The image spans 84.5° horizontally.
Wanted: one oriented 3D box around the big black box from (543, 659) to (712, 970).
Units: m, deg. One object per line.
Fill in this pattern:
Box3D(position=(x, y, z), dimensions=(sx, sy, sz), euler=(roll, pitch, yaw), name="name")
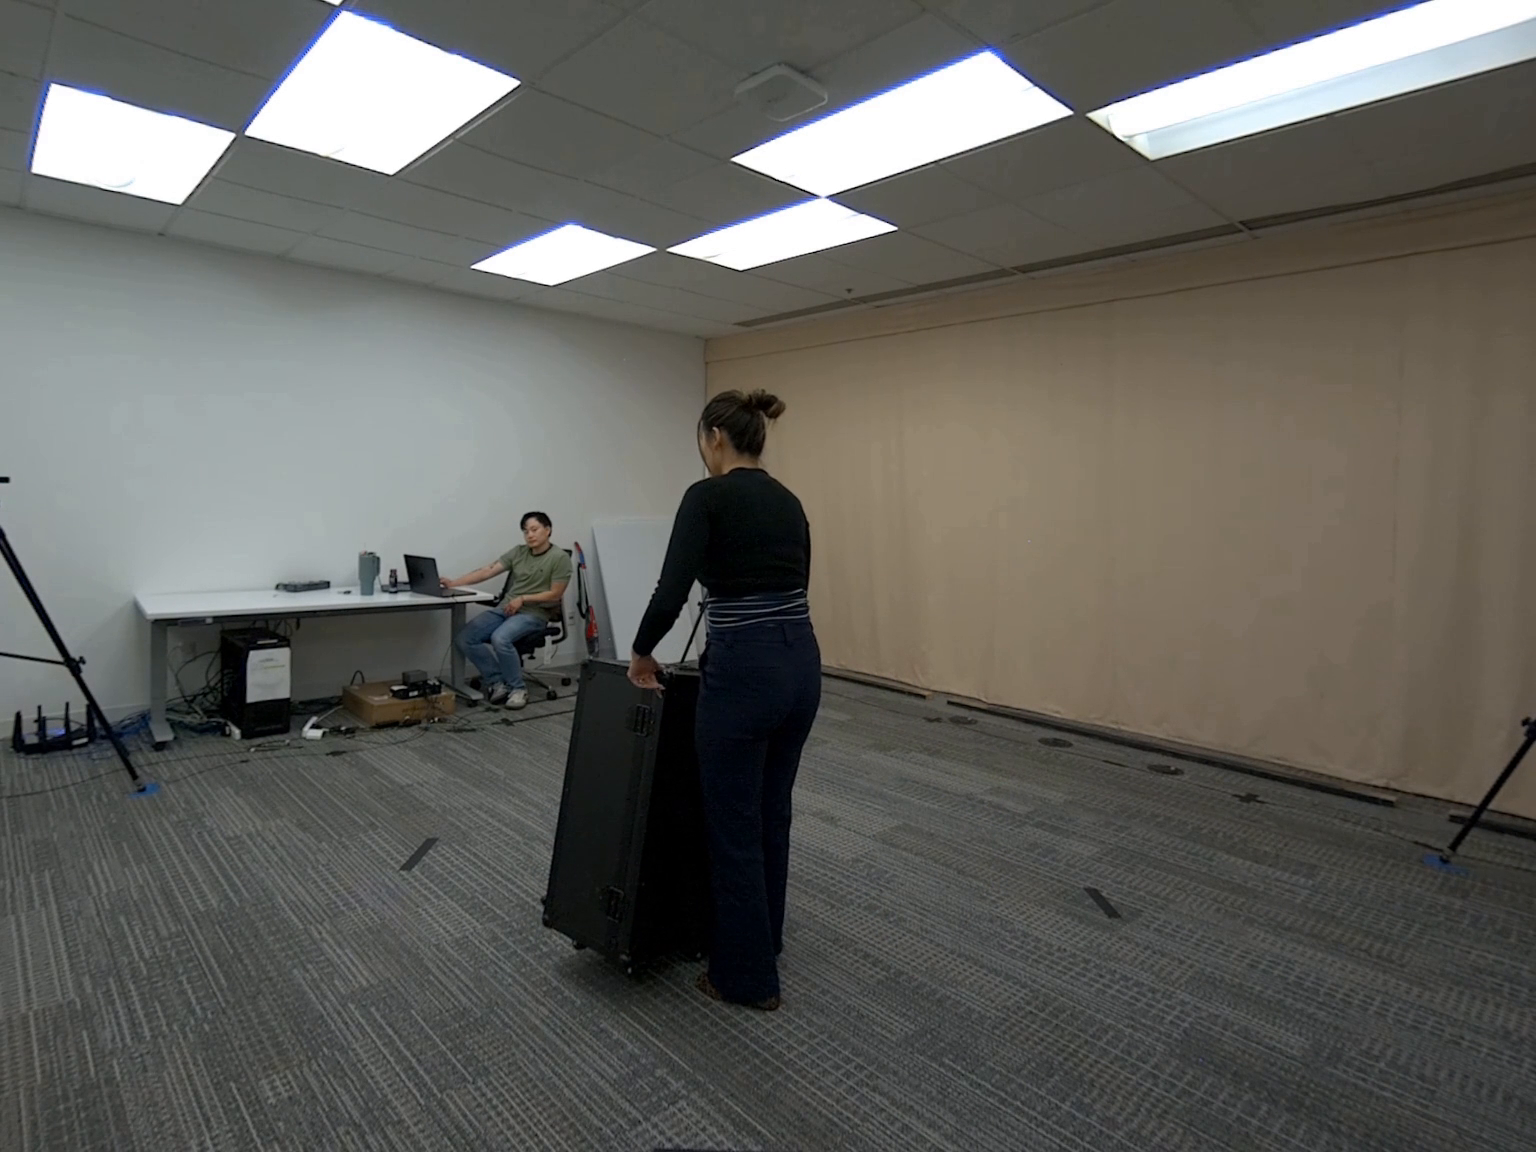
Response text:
Box3D(position=(-0.352, 0.707, 2.562), dimensions=(0.406, 0.865, 0.506), euler=(1, -9, 39), name="big black box")
